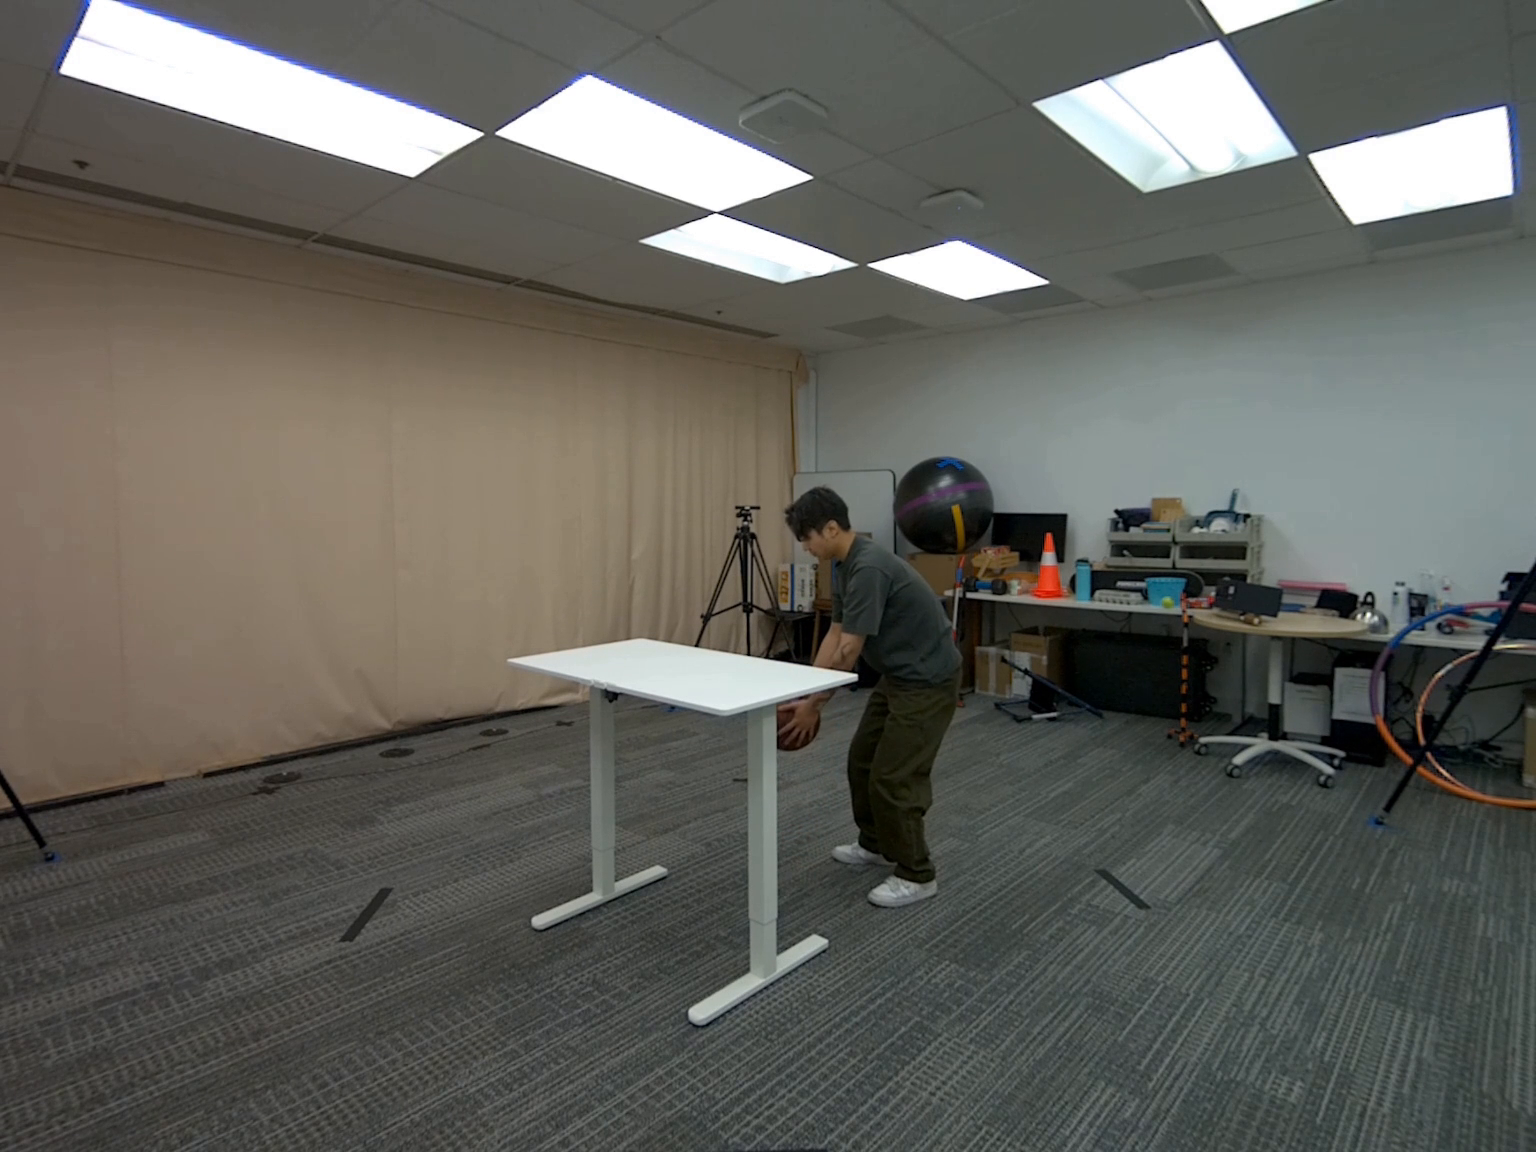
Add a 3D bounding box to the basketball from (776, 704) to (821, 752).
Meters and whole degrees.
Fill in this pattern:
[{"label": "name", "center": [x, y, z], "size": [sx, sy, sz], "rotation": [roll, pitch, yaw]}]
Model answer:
[{"label": "basketball", "center": [0.084, 0.525, 3.115], "size": [0.236, 0.235, 0.237], "rotation": [0, 4, -2]}]
